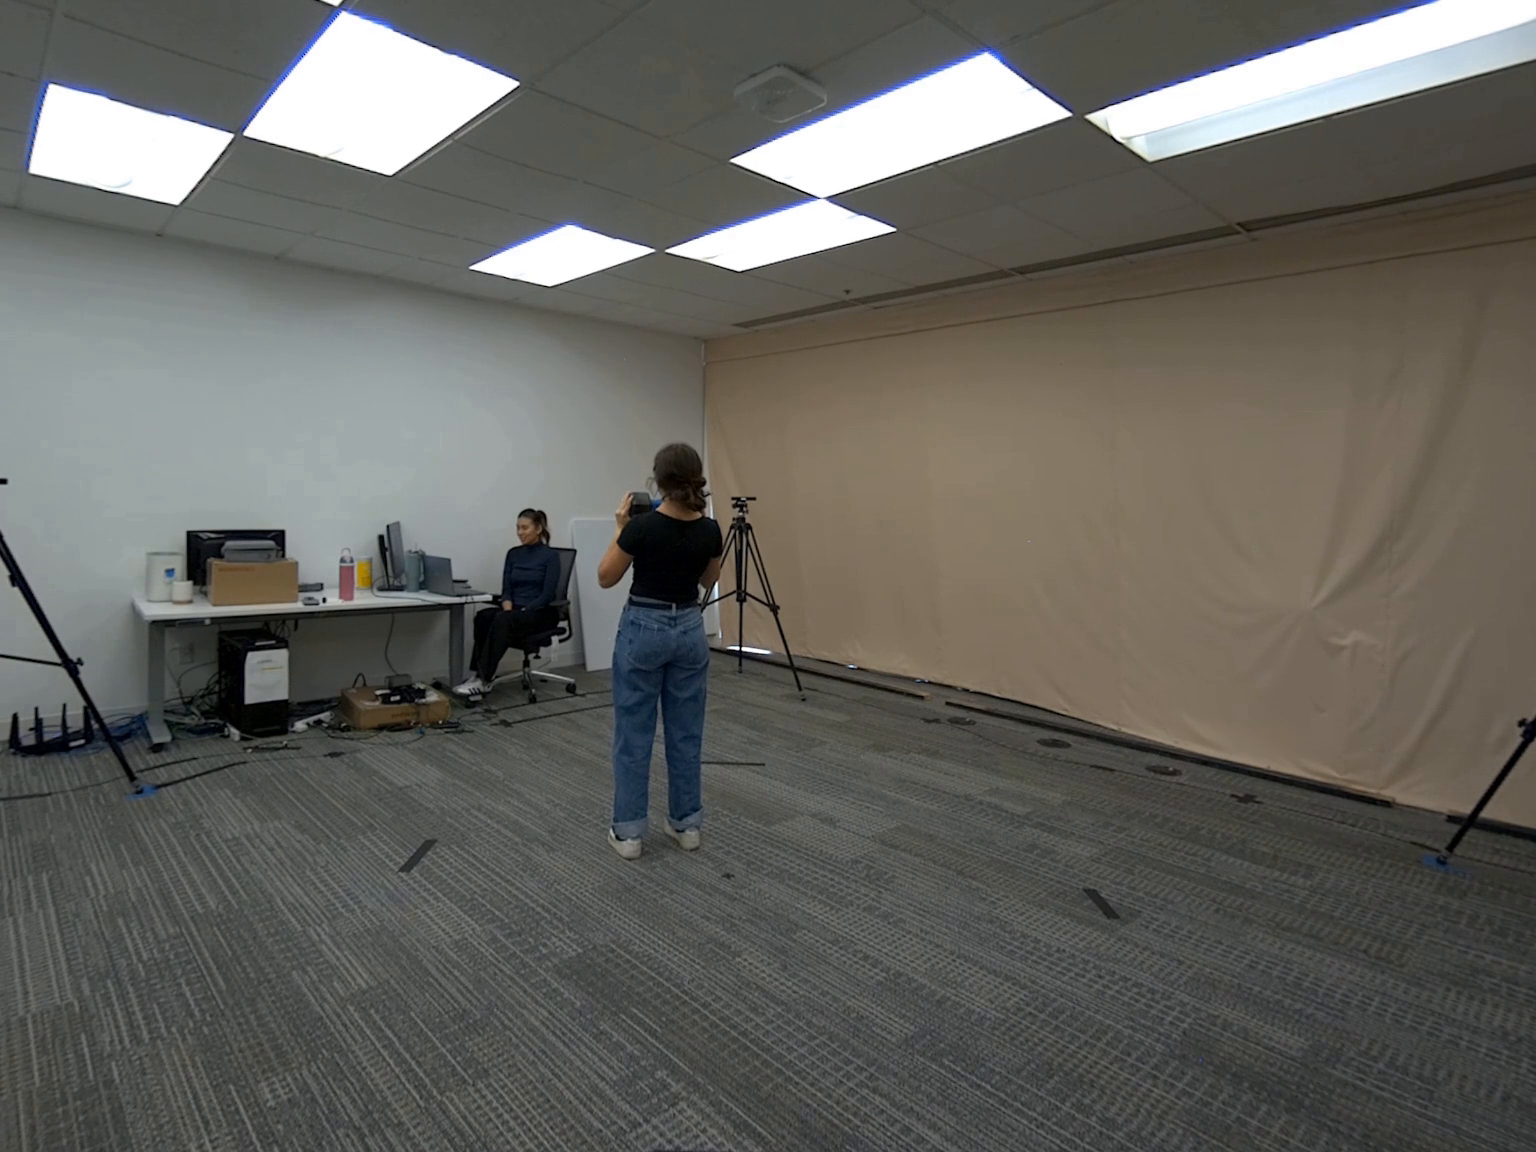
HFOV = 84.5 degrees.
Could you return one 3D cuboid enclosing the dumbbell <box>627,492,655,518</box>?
[{"bbox_3d":[-0.426,-0.282,3.369,0.288,0.126,0.108,-2,-33,-24],"label":"dumbbell"}]
